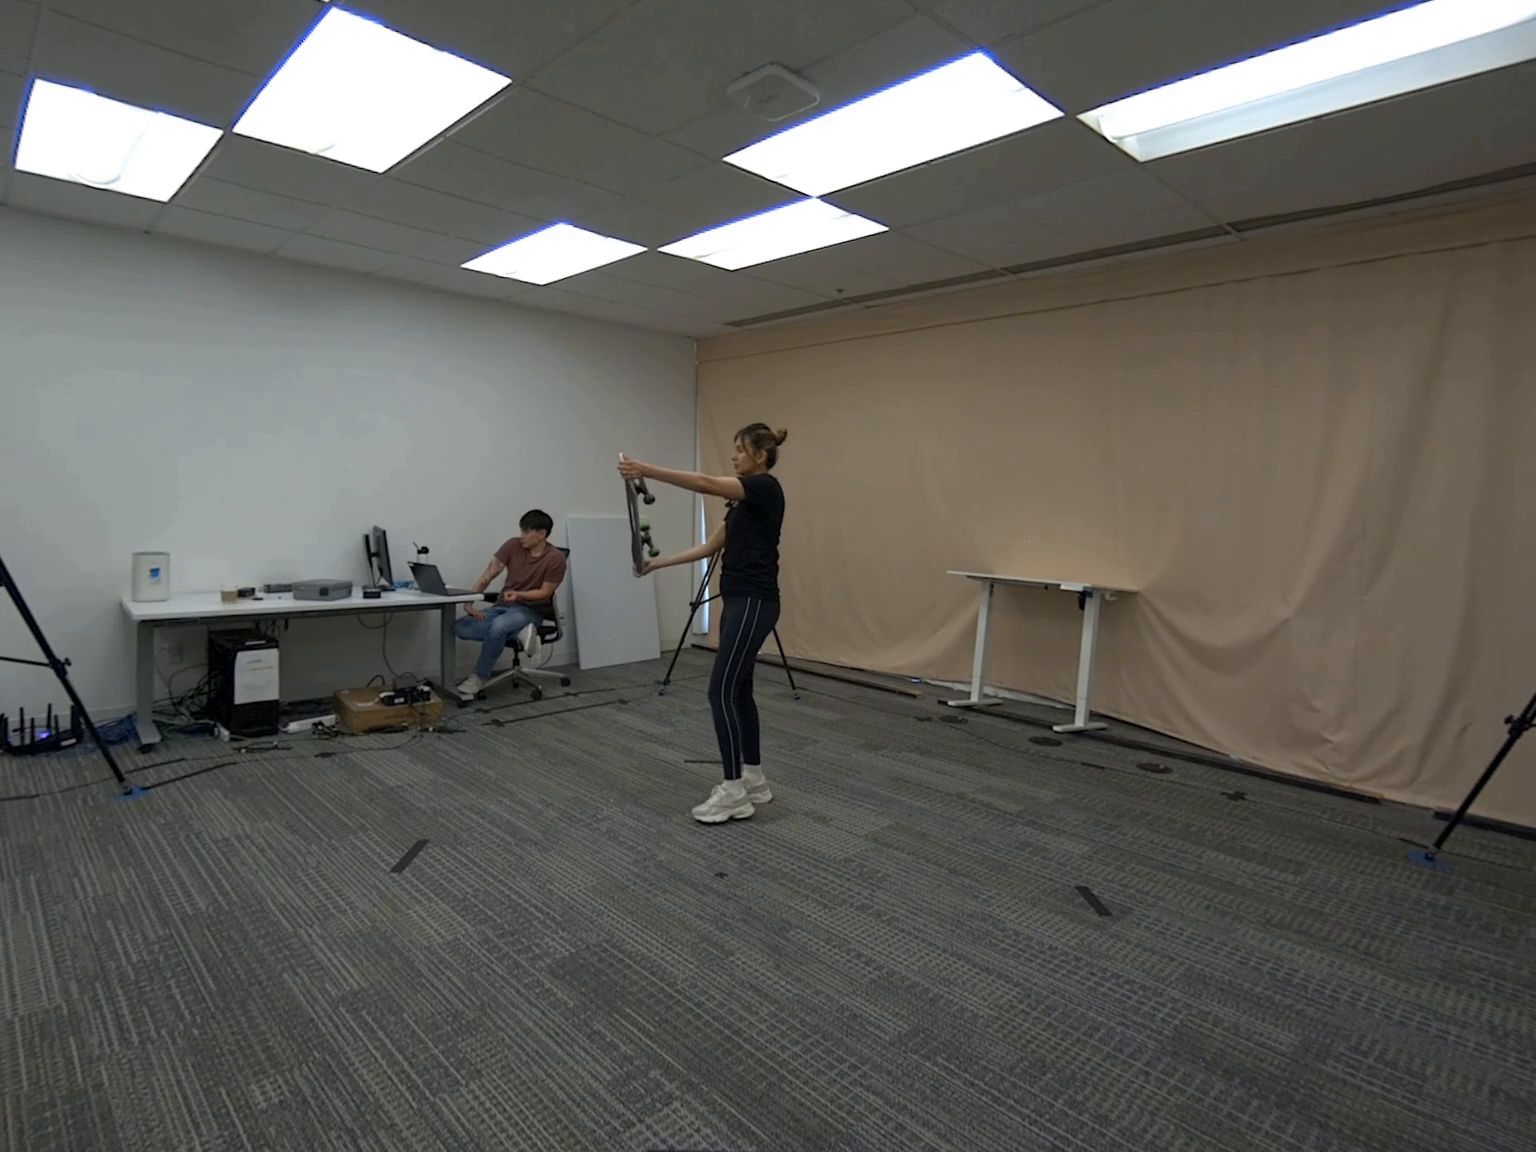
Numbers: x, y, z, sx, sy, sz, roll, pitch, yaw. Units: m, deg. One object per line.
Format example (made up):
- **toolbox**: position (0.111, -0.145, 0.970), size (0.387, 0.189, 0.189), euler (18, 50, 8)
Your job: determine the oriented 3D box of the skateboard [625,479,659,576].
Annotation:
- **skateboard**: position (-0.578, -0.268, 3.757), size (0.109, 0.199, 0.770), euler (-14, -32, -13)
